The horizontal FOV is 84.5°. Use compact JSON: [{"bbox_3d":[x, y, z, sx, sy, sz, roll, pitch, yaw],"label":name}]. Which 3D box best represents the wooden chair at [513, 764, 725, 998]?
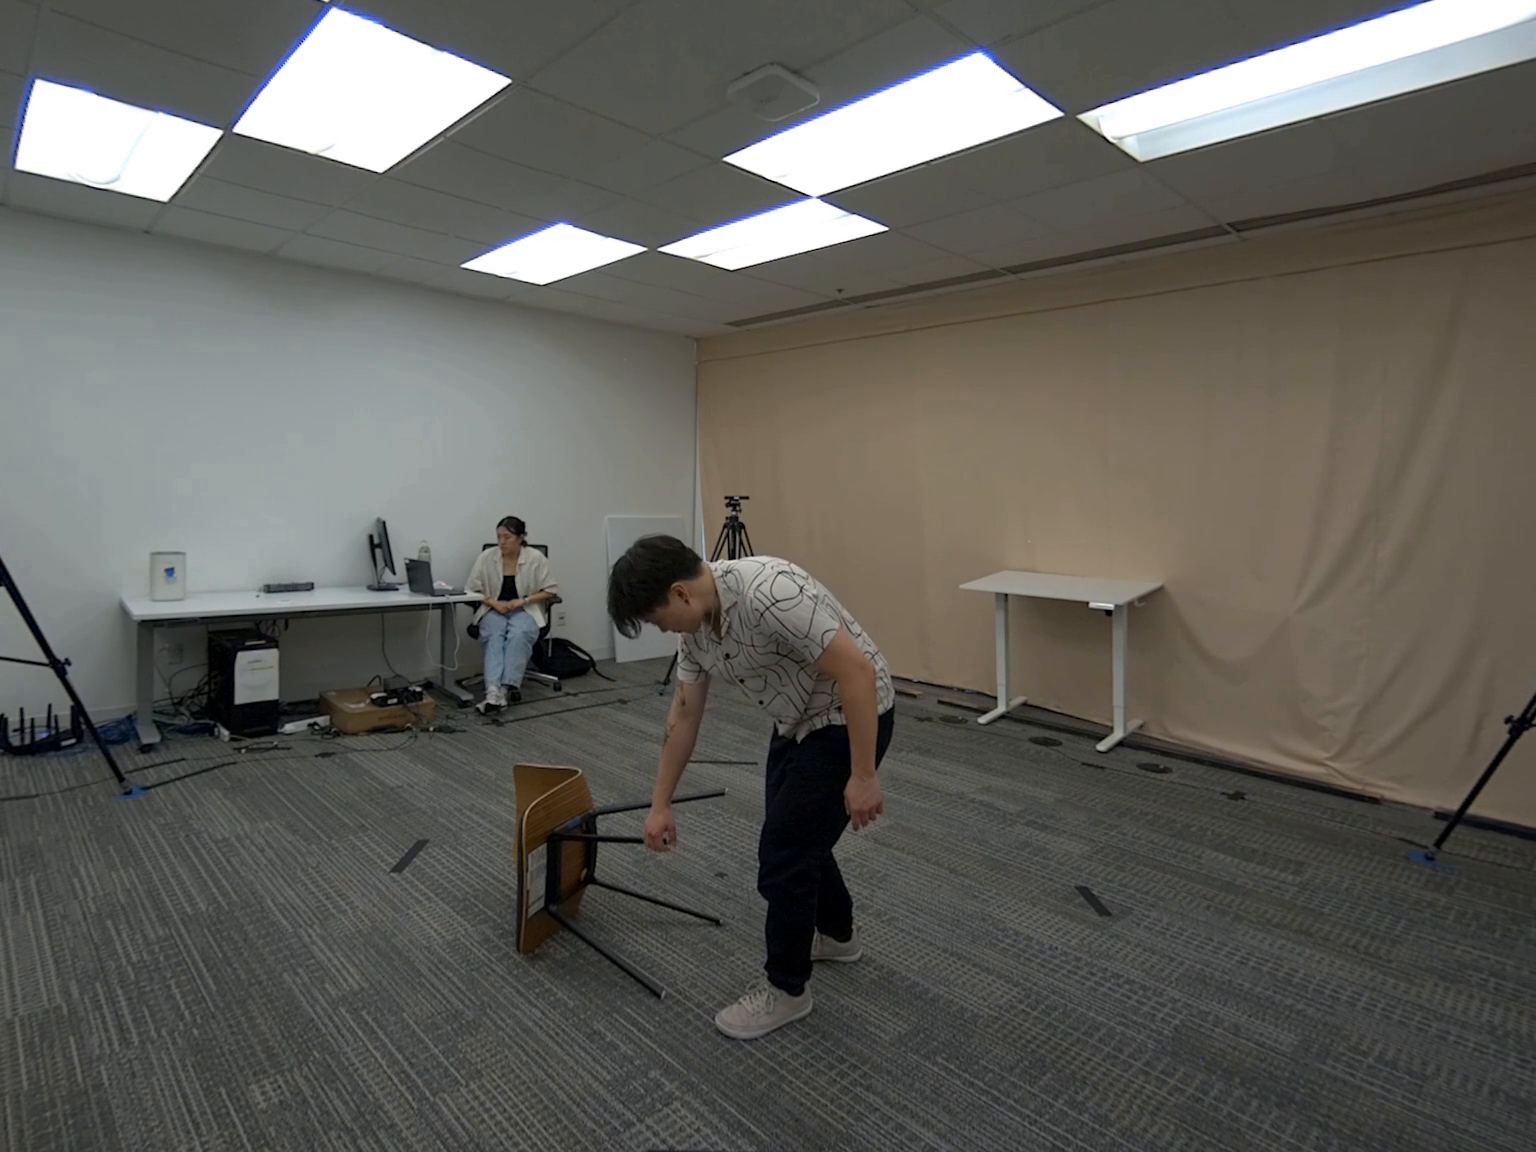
[{"bbox_3d":[-0.624,0.908,2.659,0.894,0.476,0.515,5,6,24],"label":"wooden chair"}]
